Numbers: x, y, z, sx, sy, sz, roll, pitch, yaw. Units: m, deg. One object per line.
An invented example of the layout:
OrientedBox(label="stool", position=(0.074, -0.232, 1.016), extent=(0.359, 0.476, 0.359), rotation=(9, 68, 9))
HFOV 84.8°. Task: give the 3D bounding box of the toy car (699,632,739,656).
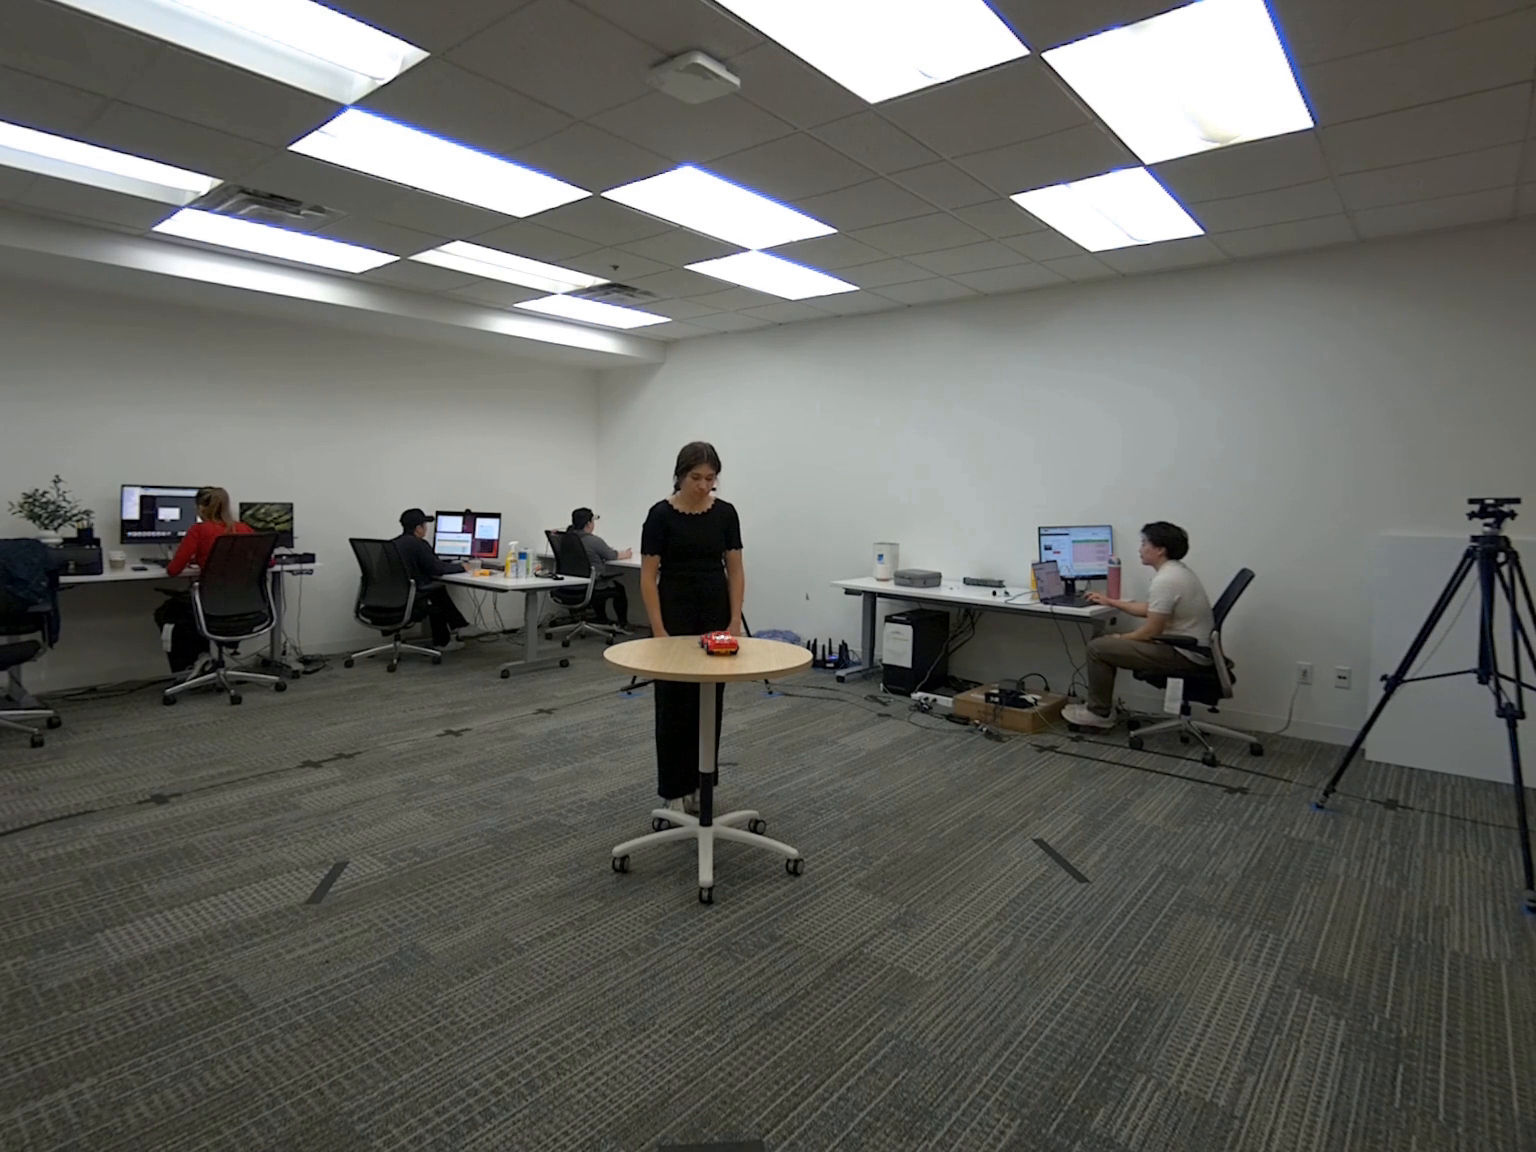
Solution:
OrientedBox(label="toy car", position=(-0.188, 0.245, 3.149), extent=(0.129, 0.084, 0.255), rotation=(0, -7, -11))
